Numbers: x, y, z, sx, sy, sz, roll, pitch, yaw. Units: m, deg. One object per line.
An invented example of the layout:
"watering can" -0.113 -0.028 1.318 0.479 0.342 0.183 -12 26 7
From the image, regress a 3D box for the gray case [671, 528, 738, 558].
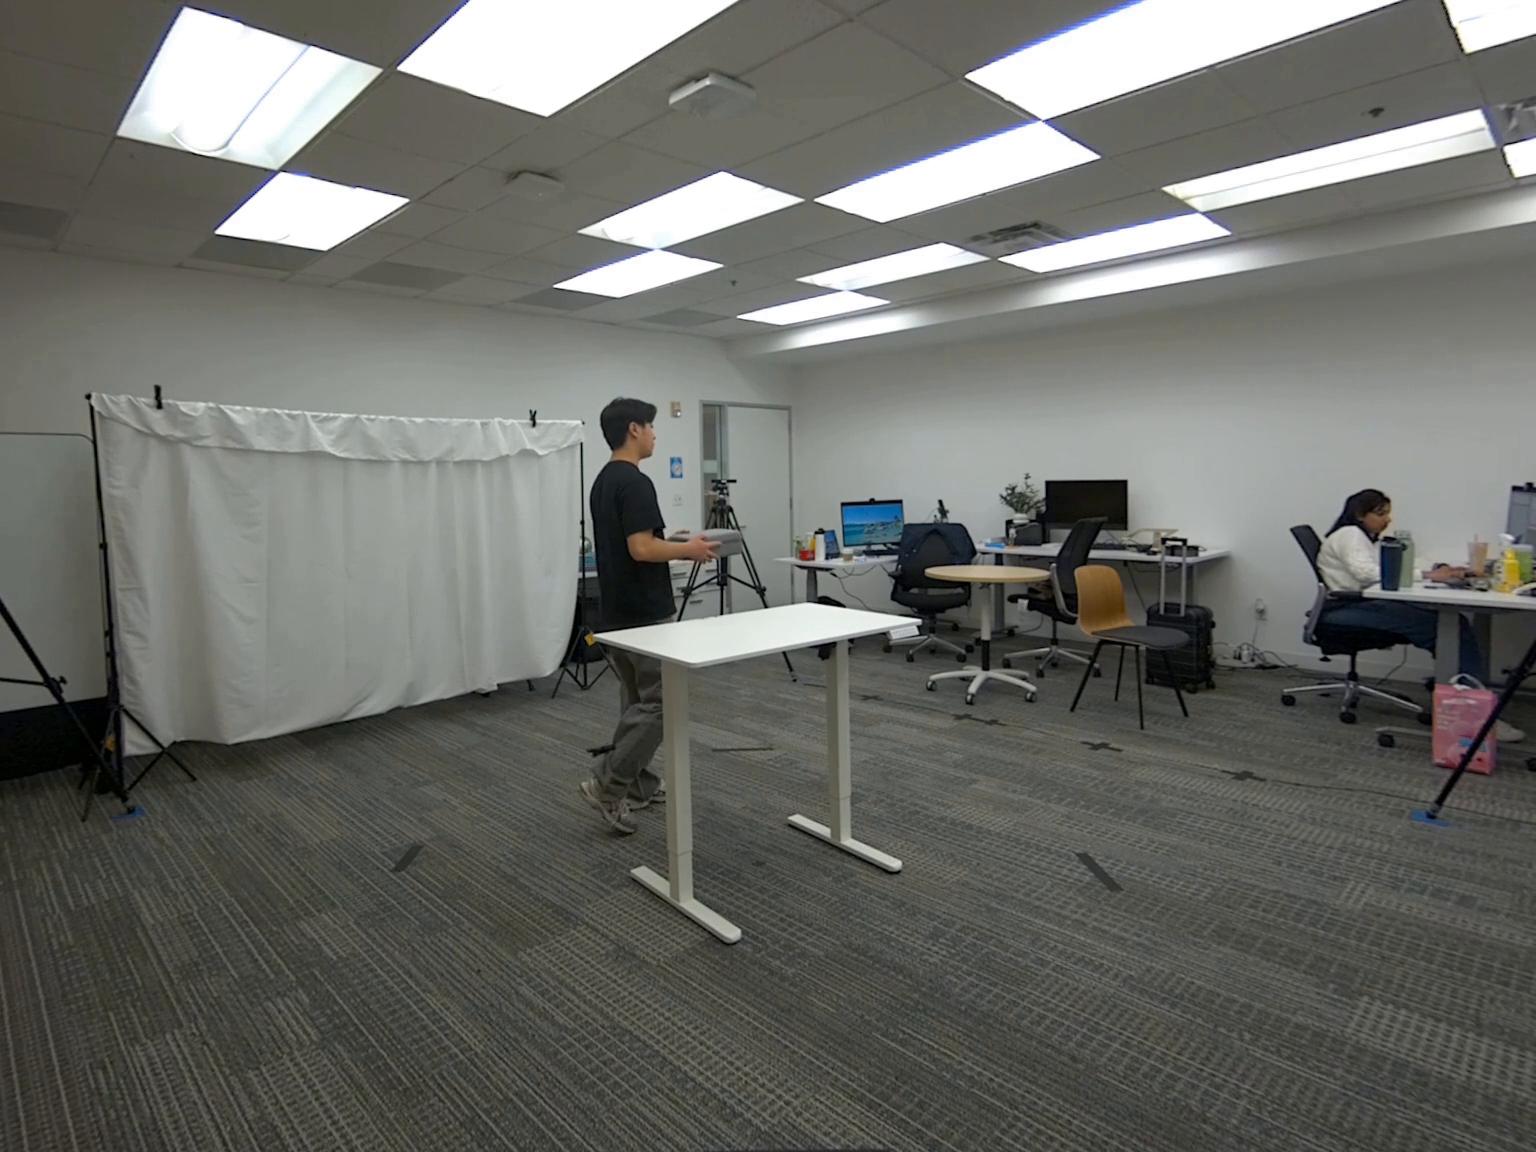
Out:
"gray case" -0.325 -0.109 3.625 0.266 0.102 0.286 -4 8 12
